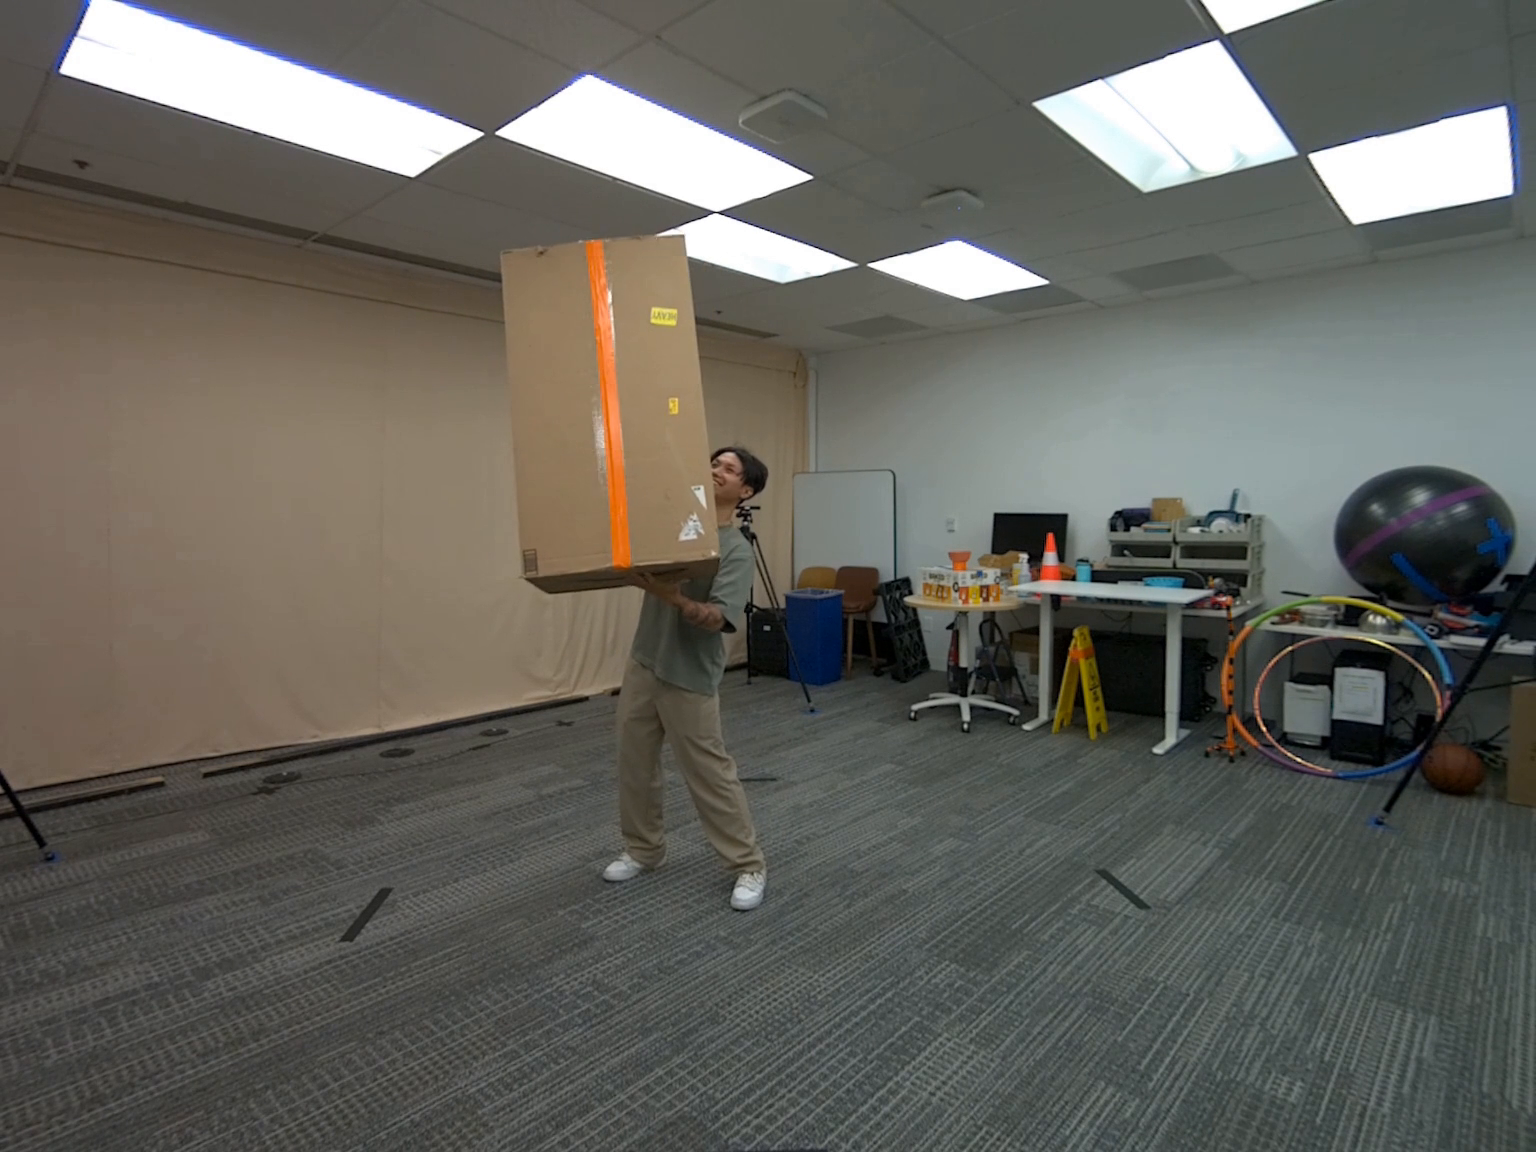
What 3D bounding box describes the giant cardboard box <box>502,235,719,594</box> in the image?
[{"bbox_3d":[-0.498,-0.482,2.705,0.575,1.033,0.425,-6,-9,-5],"label":"giant cardboard box"}]
